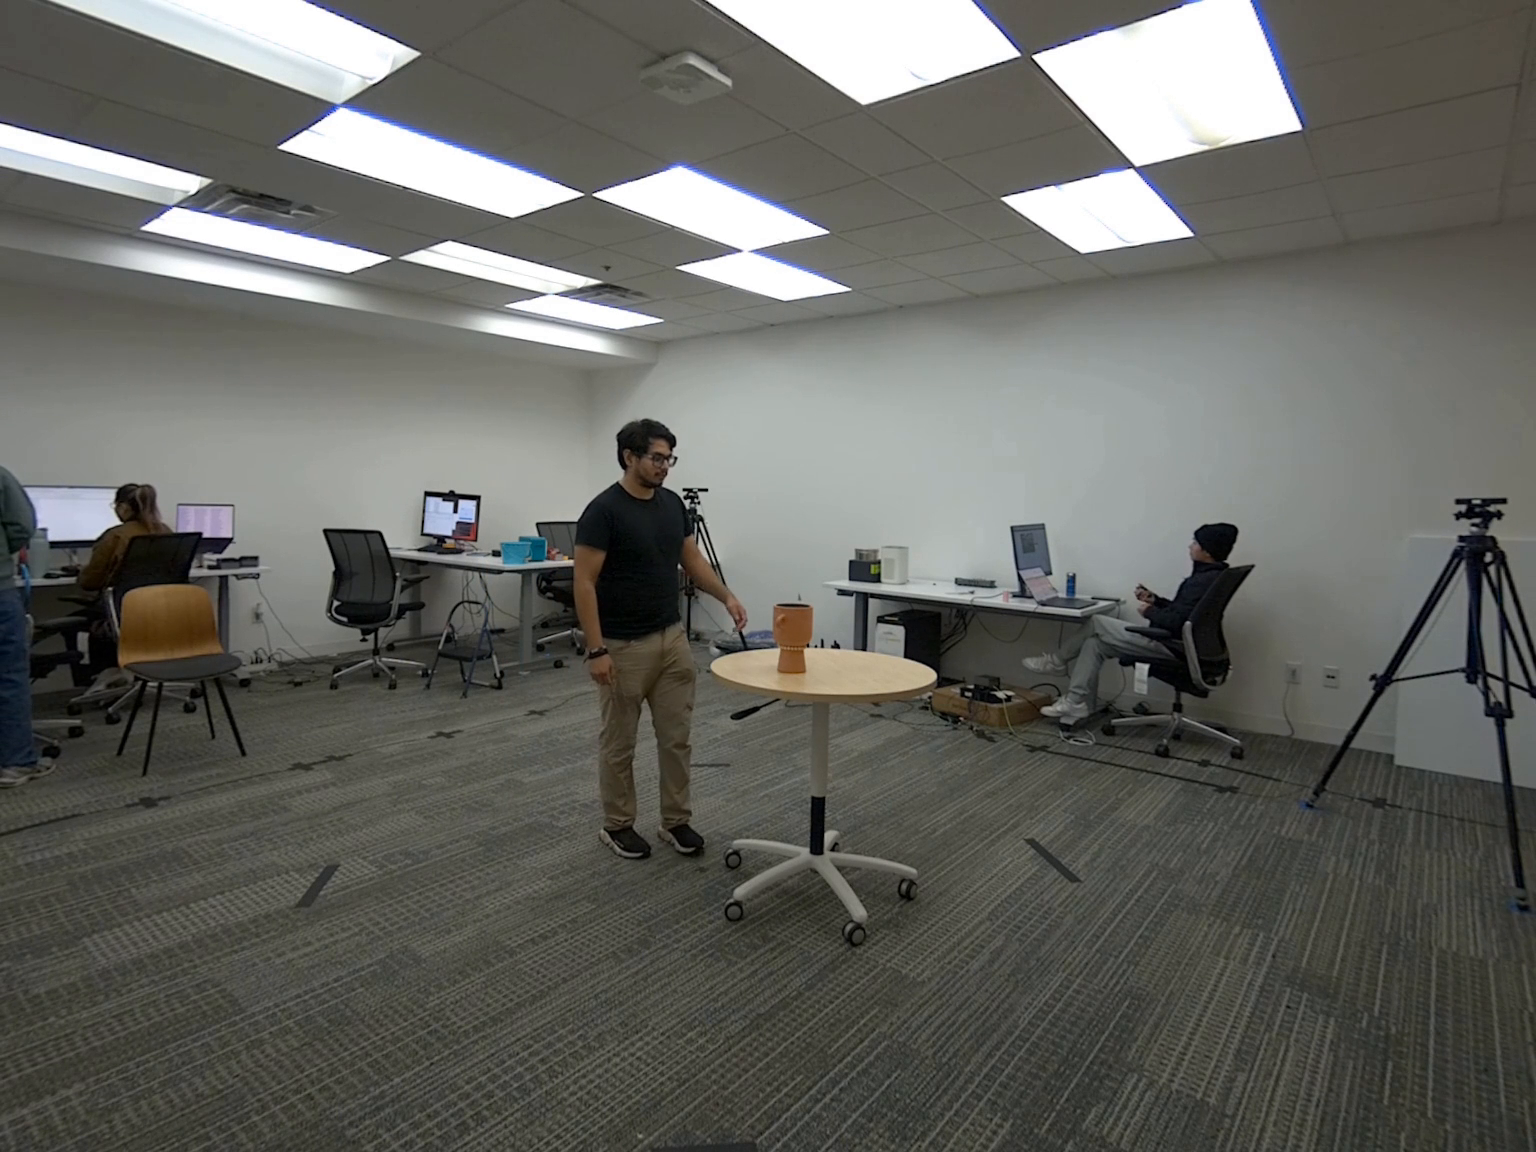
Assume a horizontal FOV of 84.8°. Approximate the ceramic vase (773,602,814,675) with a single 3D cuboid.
[{"bbox_3d":[0.079,0.208,2.858,0.156,0.219,0.137,-1,3,-16],"label":"ceramic vase"}]
